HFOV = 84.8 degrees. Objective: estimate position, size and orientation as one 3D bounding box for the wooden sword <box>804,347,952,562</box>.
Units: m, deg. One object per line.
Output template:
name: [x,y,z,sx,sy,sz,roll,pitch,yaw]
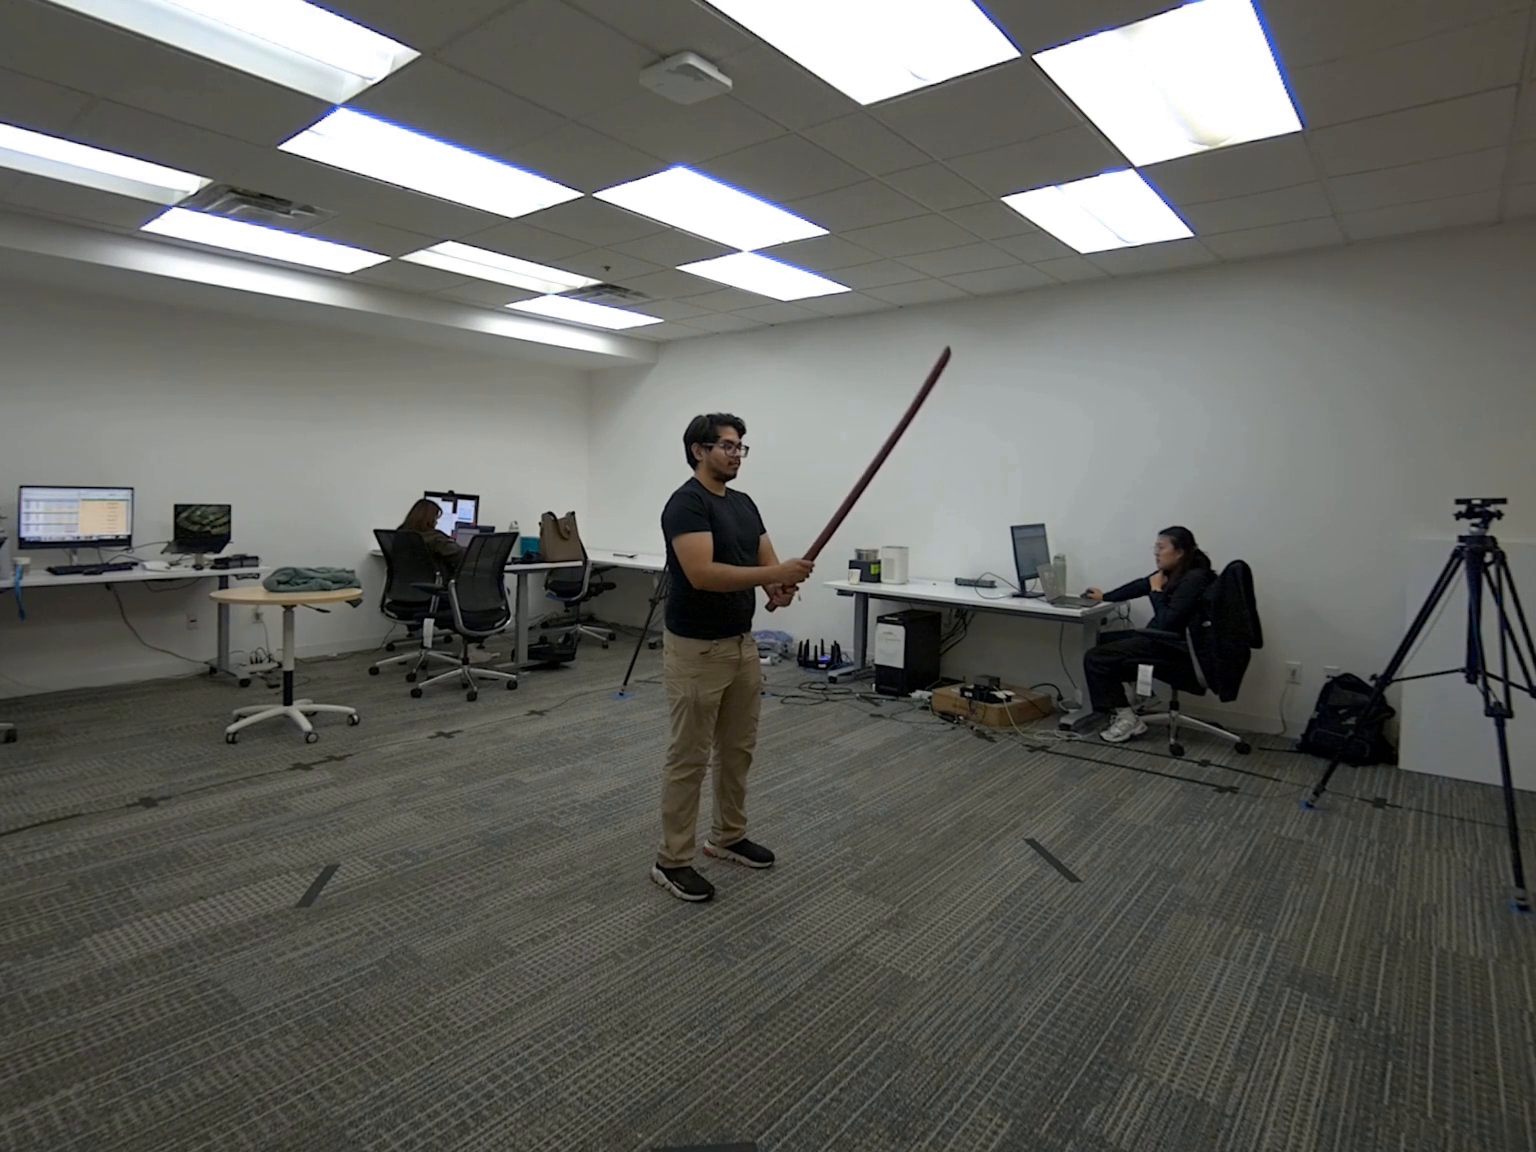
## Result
wooden sword: [0.290,-0.300,2.714,0.052,1.020,0.024,37,18,8]
